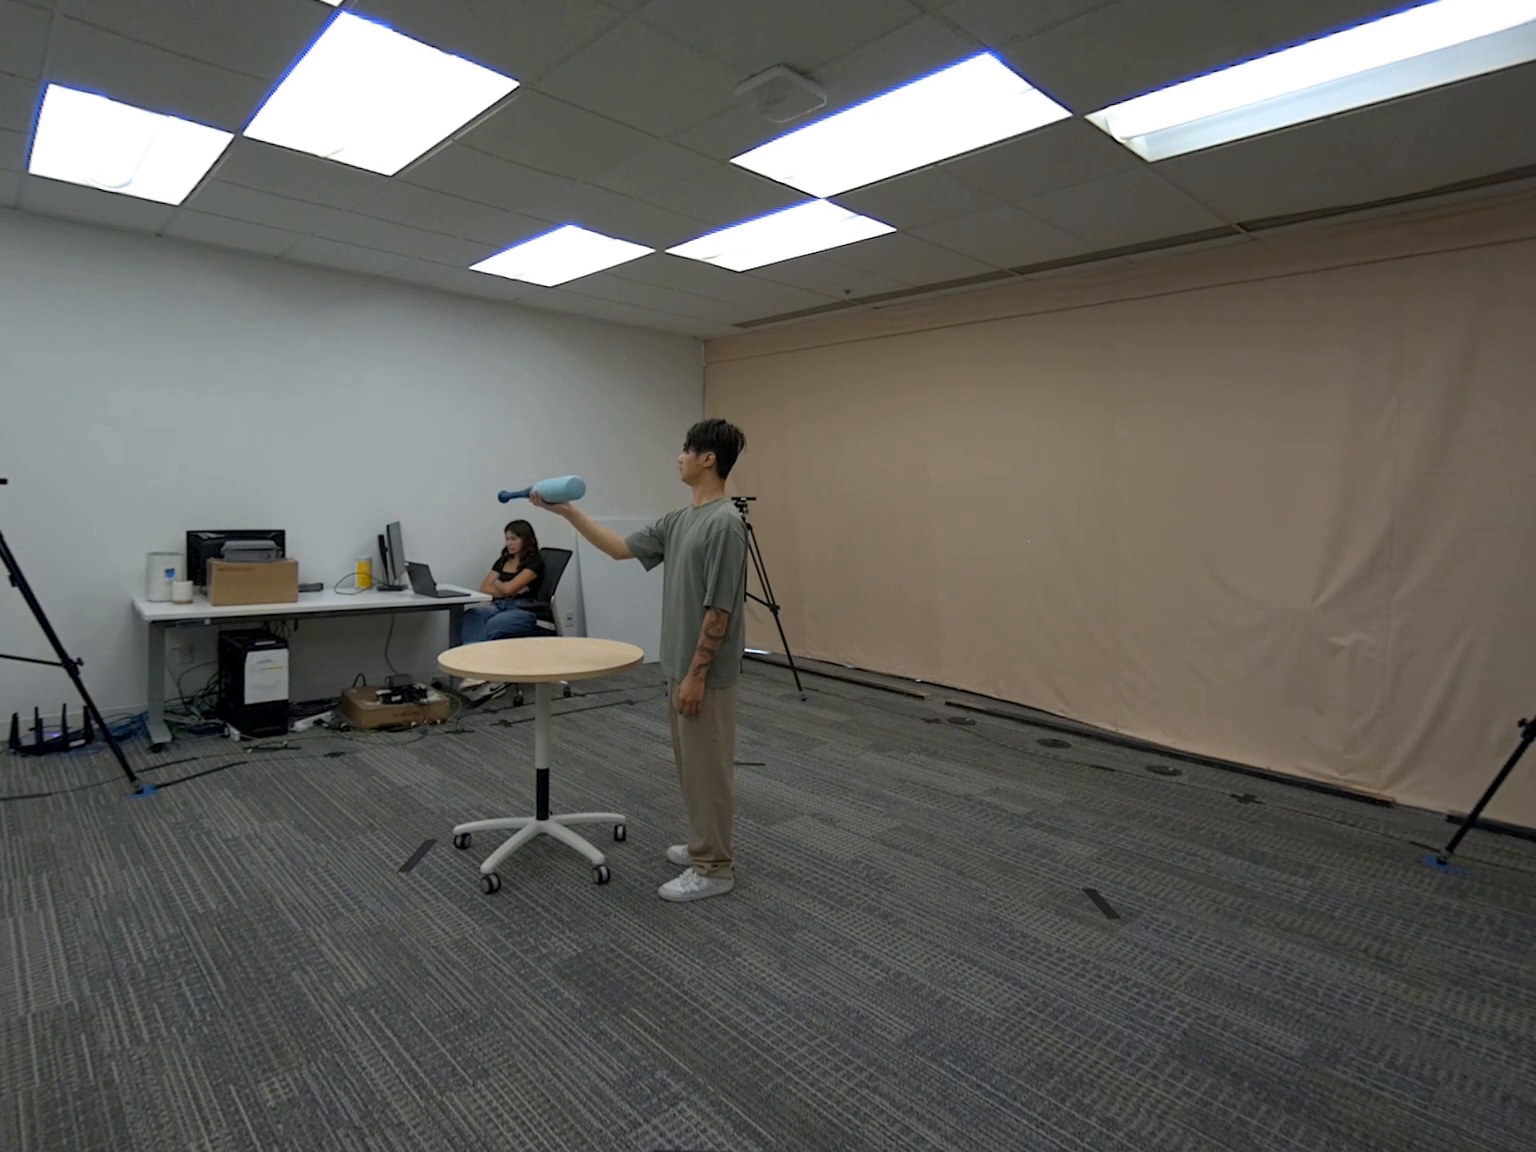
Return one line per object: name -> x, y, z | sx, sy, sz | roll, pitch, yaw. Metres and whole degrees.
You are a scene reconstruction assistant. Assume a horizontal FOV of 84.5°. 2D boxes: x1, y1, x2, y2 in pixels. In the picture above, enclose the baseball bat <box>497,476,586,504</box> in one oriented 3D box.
baseball bat -> -0.859, -0.320, 3.110 | 0.087, 0.089, 0.556 | -3, 3, -44
